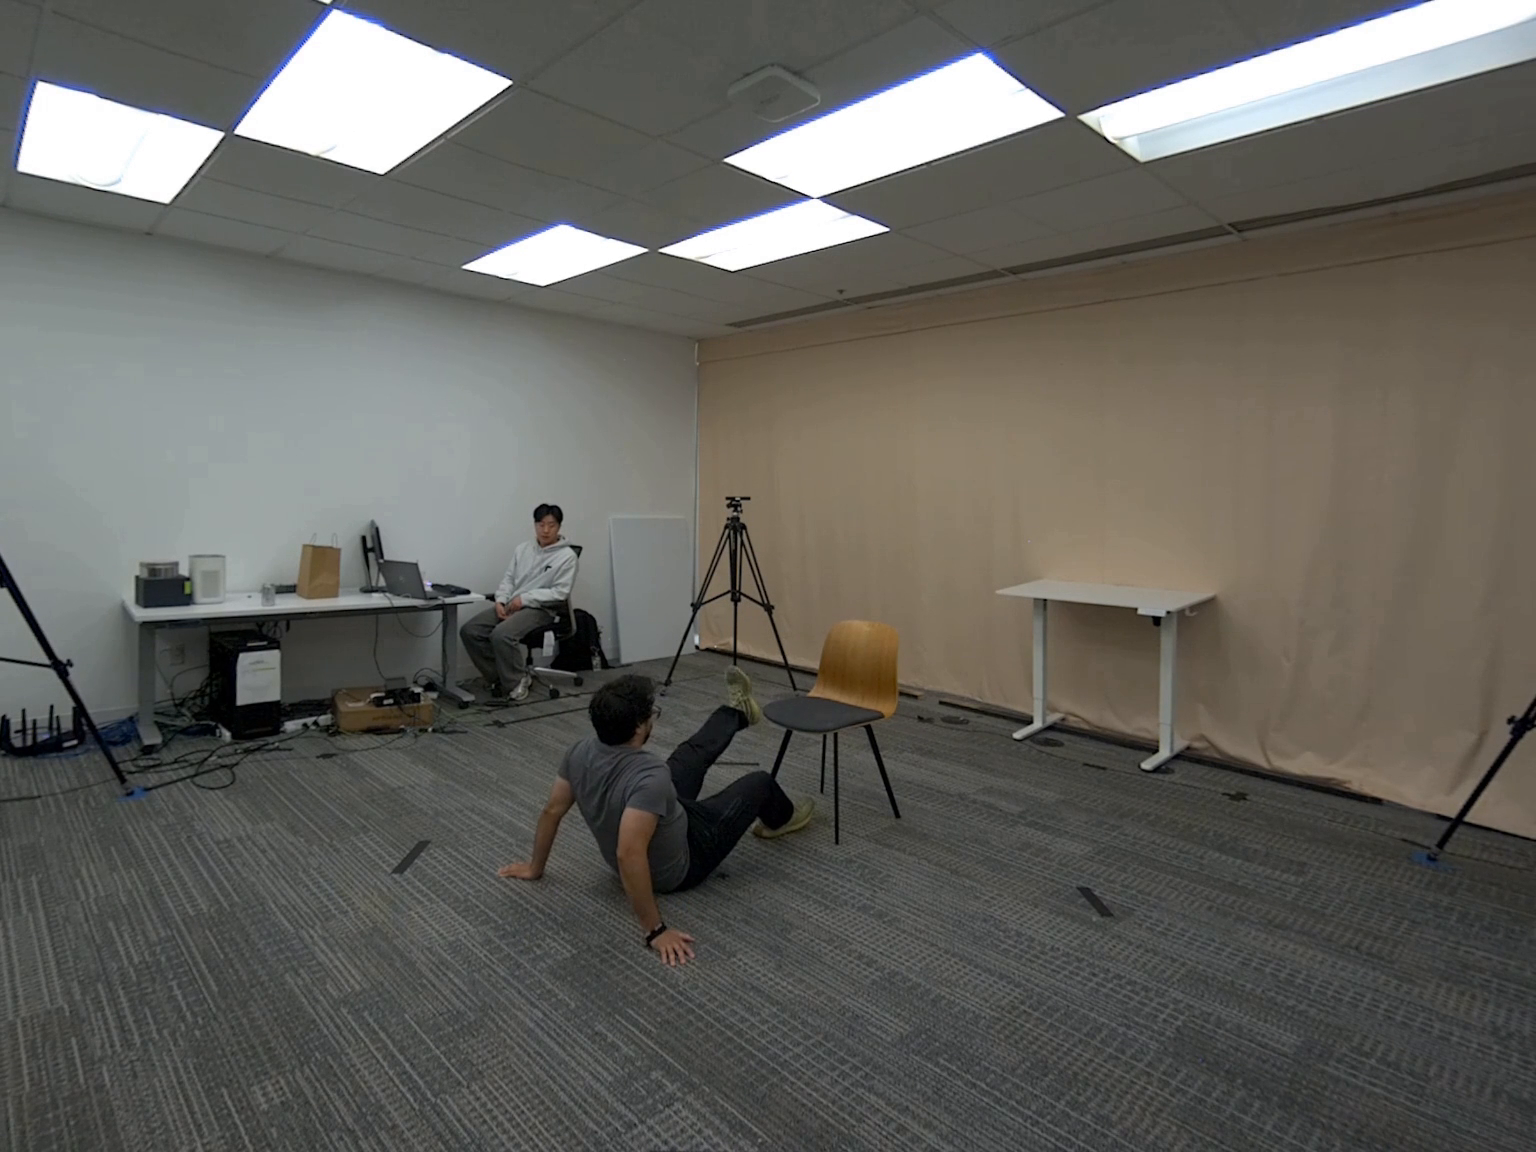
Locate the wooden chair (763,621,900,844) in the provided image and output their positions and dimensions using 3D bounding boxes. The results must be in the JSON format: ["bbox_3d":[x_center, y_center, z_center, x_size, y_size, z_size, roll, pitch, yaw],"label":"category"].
[{"bbox_3d":[0.269,0.639,3.692,0.490,0.877,0.510,4,0,44],"label":"wooden chair"}]
